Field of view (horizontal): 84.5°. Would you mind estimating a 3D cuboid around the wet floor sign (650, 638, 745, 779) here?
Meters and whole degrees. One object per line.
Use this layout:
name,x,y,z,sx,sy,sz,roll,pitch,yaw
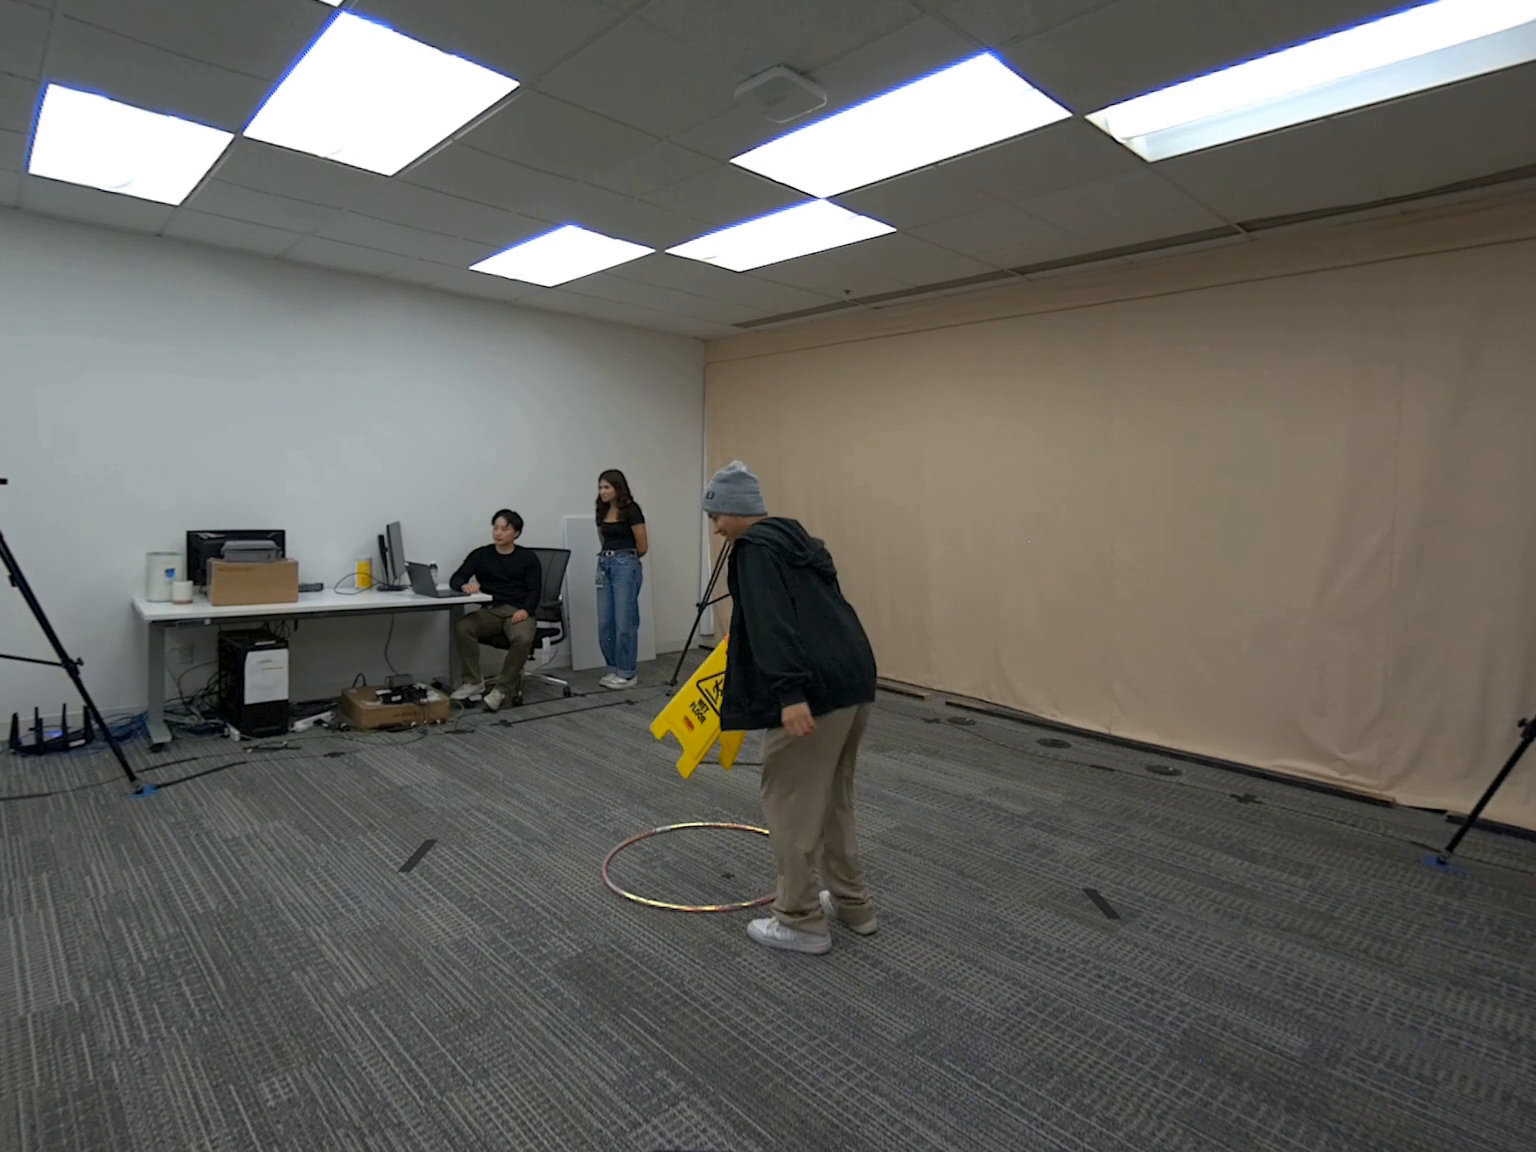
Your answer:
wet floor sign,-0.147,0.422,3.229,0.282,0.642,0.291,5,33,-46
